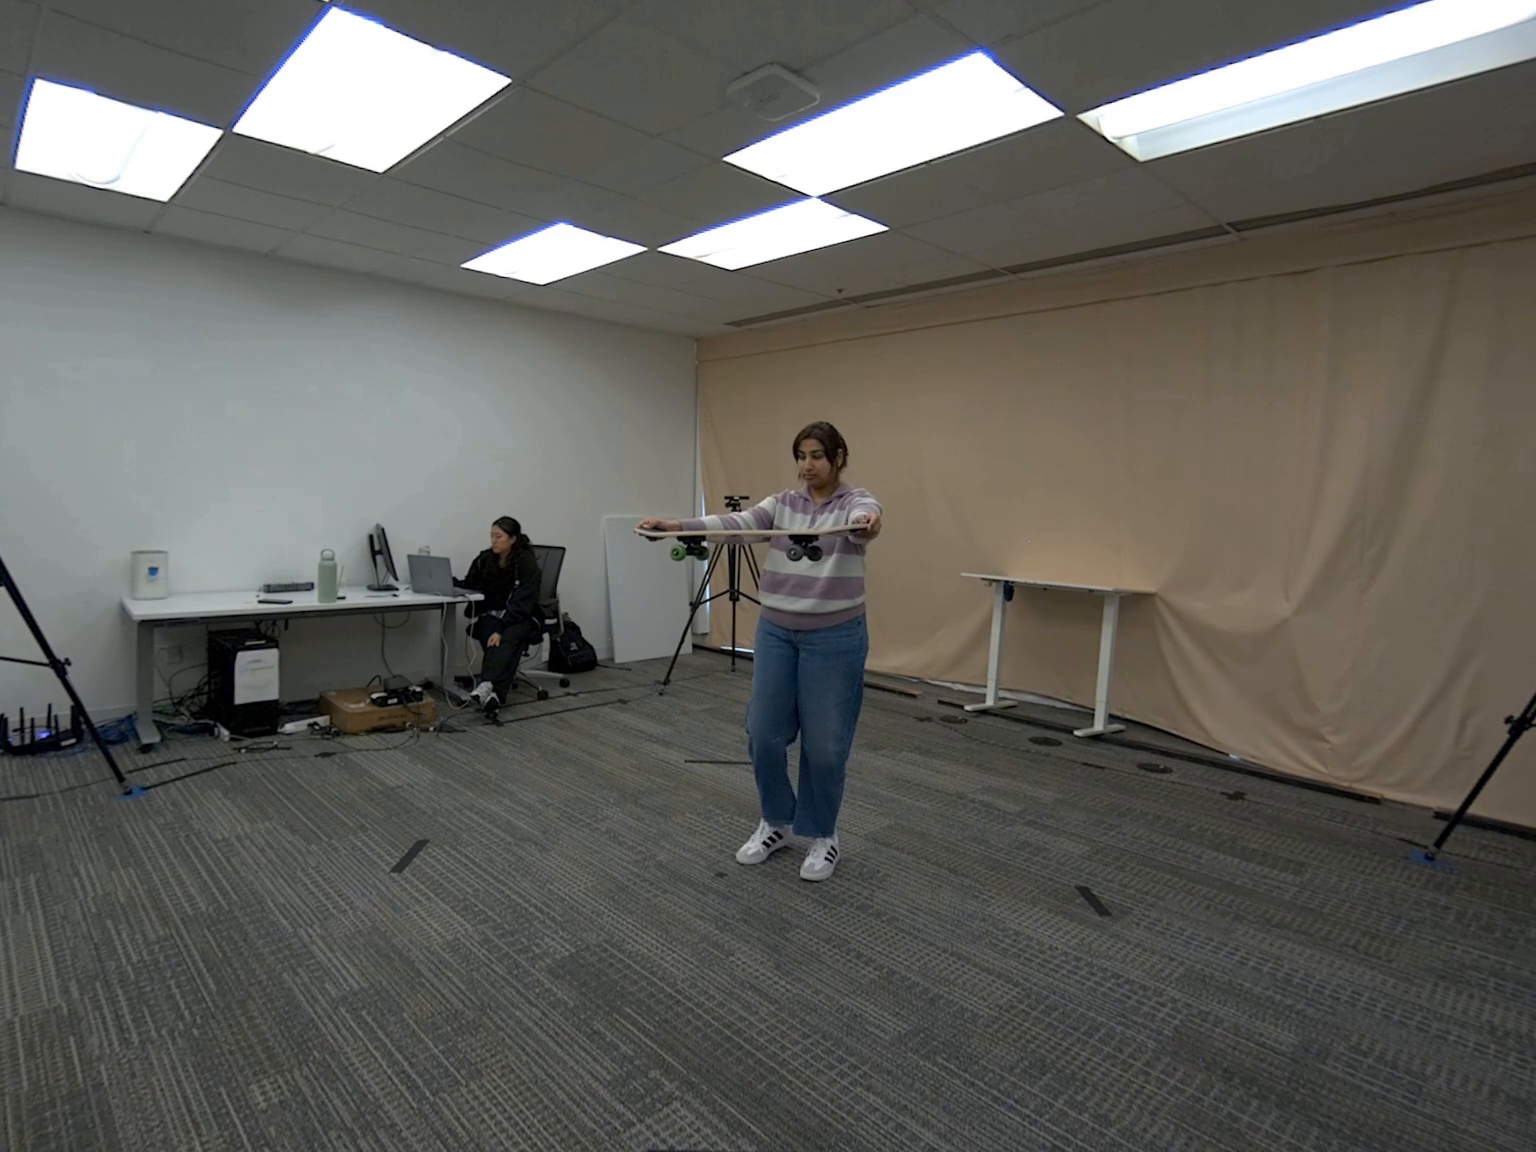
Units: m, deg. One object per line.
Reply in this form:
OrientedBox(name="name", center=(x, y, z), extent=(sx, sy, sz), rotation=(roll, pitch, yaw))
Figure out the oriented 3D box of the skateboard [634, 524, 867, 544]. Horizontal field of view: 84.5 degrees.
OrientedBox(name="skateboard", center=(-0.063, -0.097, 2.599), extent=(0.801, 0.110, 0.191), rotation=(1, 9, 27))
